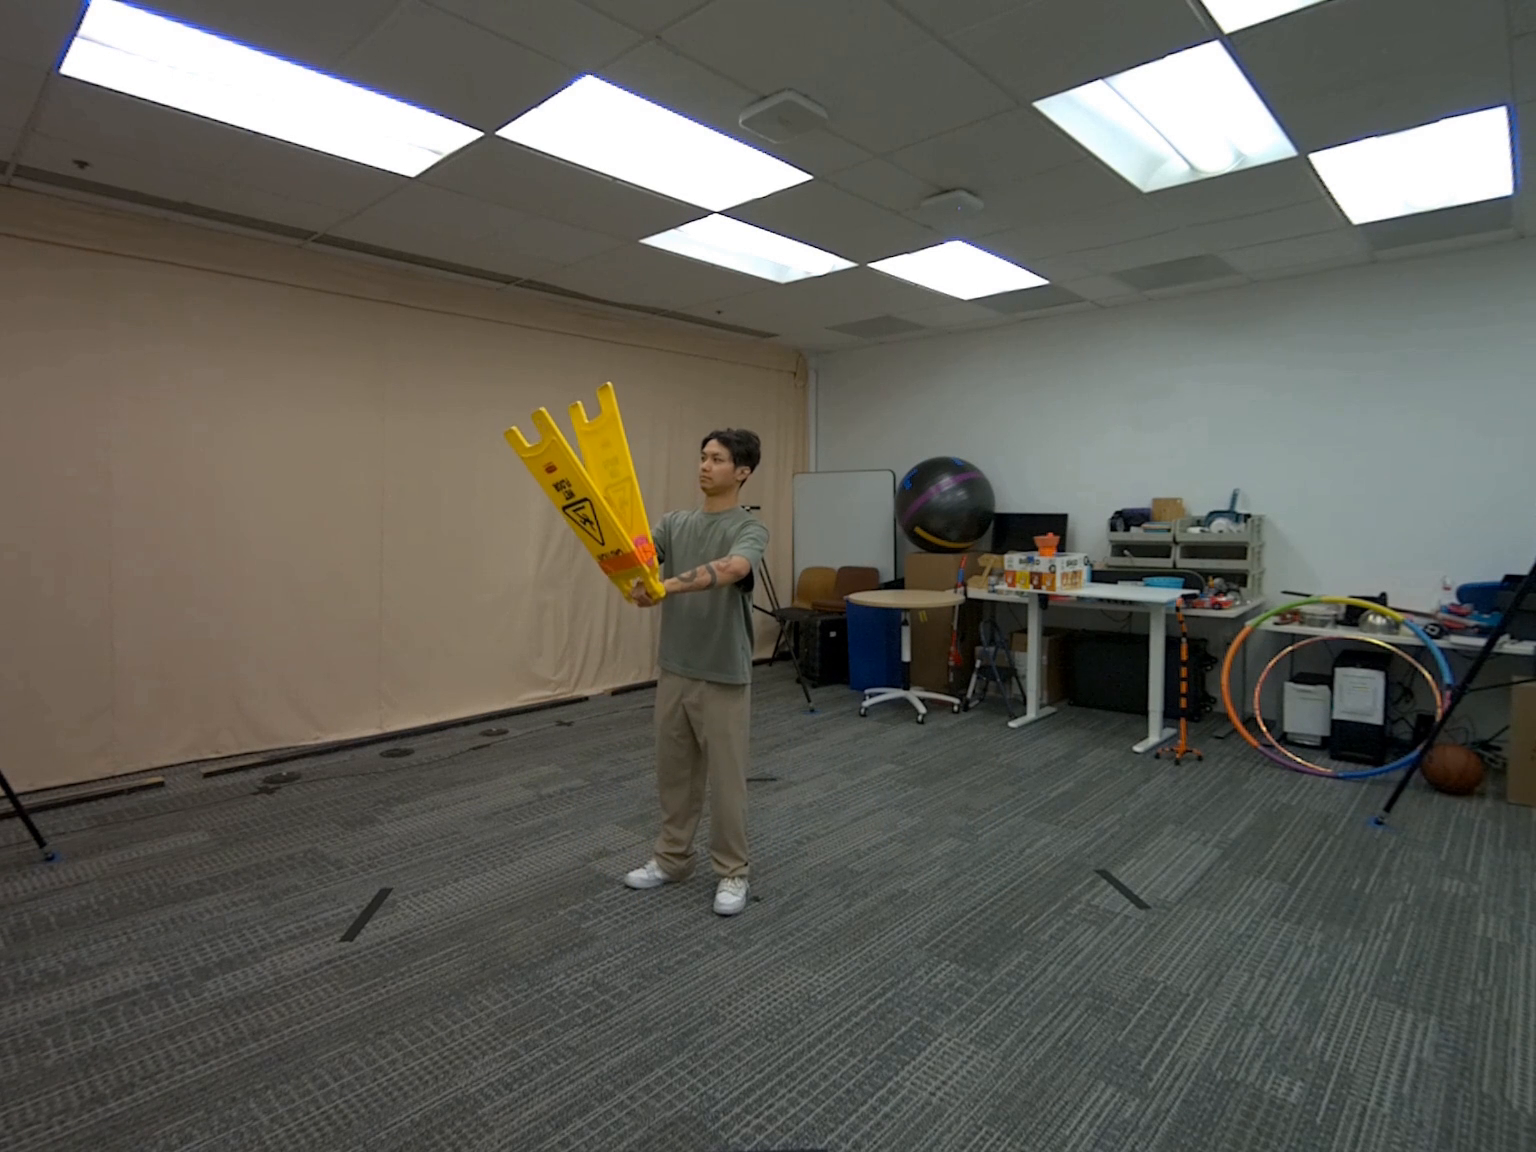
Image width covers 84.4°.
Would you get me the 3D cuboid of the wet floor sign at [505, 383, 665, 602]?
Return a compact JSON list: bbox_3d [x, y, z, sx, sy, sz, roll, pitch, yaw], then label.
[{"bbox_3d":[-0.503,-0.215,2.563,0.285,0.641,0.289,-30,10,-36],"label":"wet floor sign"}]
